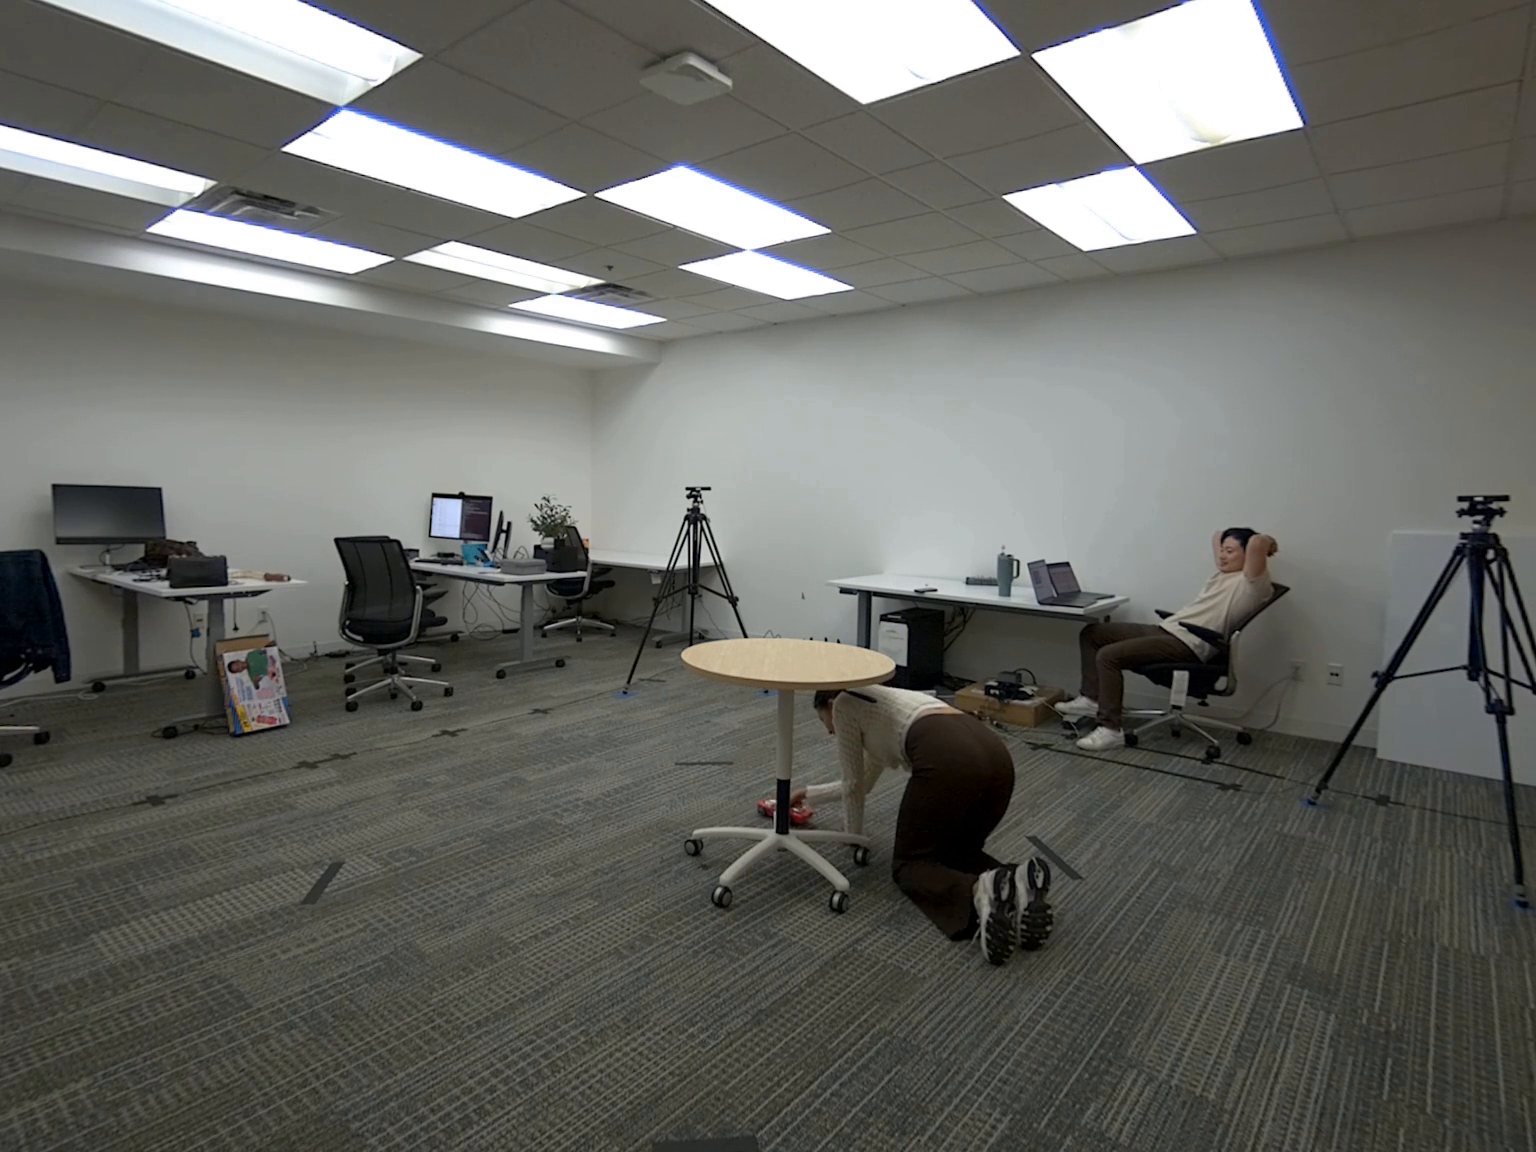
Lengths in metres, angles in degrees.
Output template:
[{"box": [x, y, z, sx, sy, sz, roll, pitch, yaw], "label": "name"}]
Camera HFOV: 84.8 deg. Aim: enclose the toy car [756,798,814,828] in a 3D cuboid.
[{"box": [0.069, 0.996, 3.589, 0.261, 0.083, 0.126, -7, -3, 40], "label": "toy car"}]
